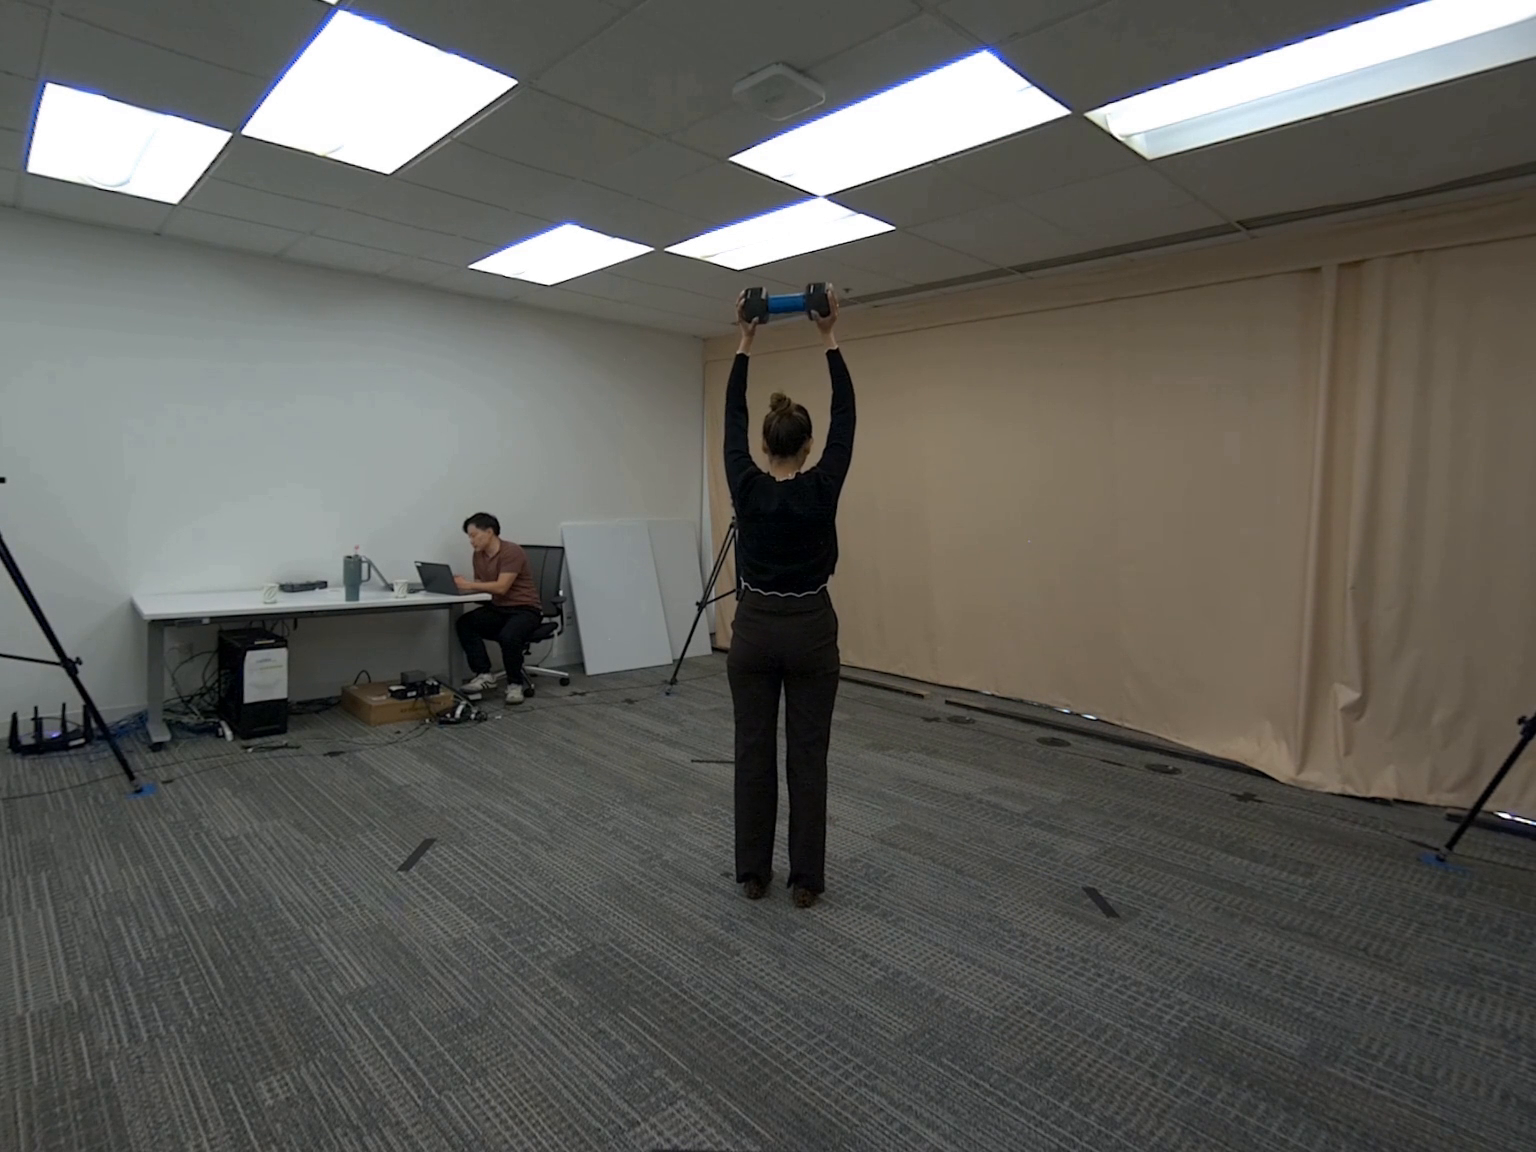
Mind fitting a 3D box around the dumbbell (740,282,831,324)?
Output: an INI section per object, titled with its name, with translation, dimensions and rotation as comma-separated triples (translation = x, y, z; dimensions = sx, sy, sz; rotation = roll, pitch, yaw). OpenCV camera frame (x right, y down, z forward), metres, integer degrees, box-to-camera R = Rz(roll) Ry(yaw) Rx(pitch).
[dumbbell]
translation = 0.069, -0.910, 2.836
dimensions = 0.296, 0.109, 0.121
rotation = 1, -8, 12
